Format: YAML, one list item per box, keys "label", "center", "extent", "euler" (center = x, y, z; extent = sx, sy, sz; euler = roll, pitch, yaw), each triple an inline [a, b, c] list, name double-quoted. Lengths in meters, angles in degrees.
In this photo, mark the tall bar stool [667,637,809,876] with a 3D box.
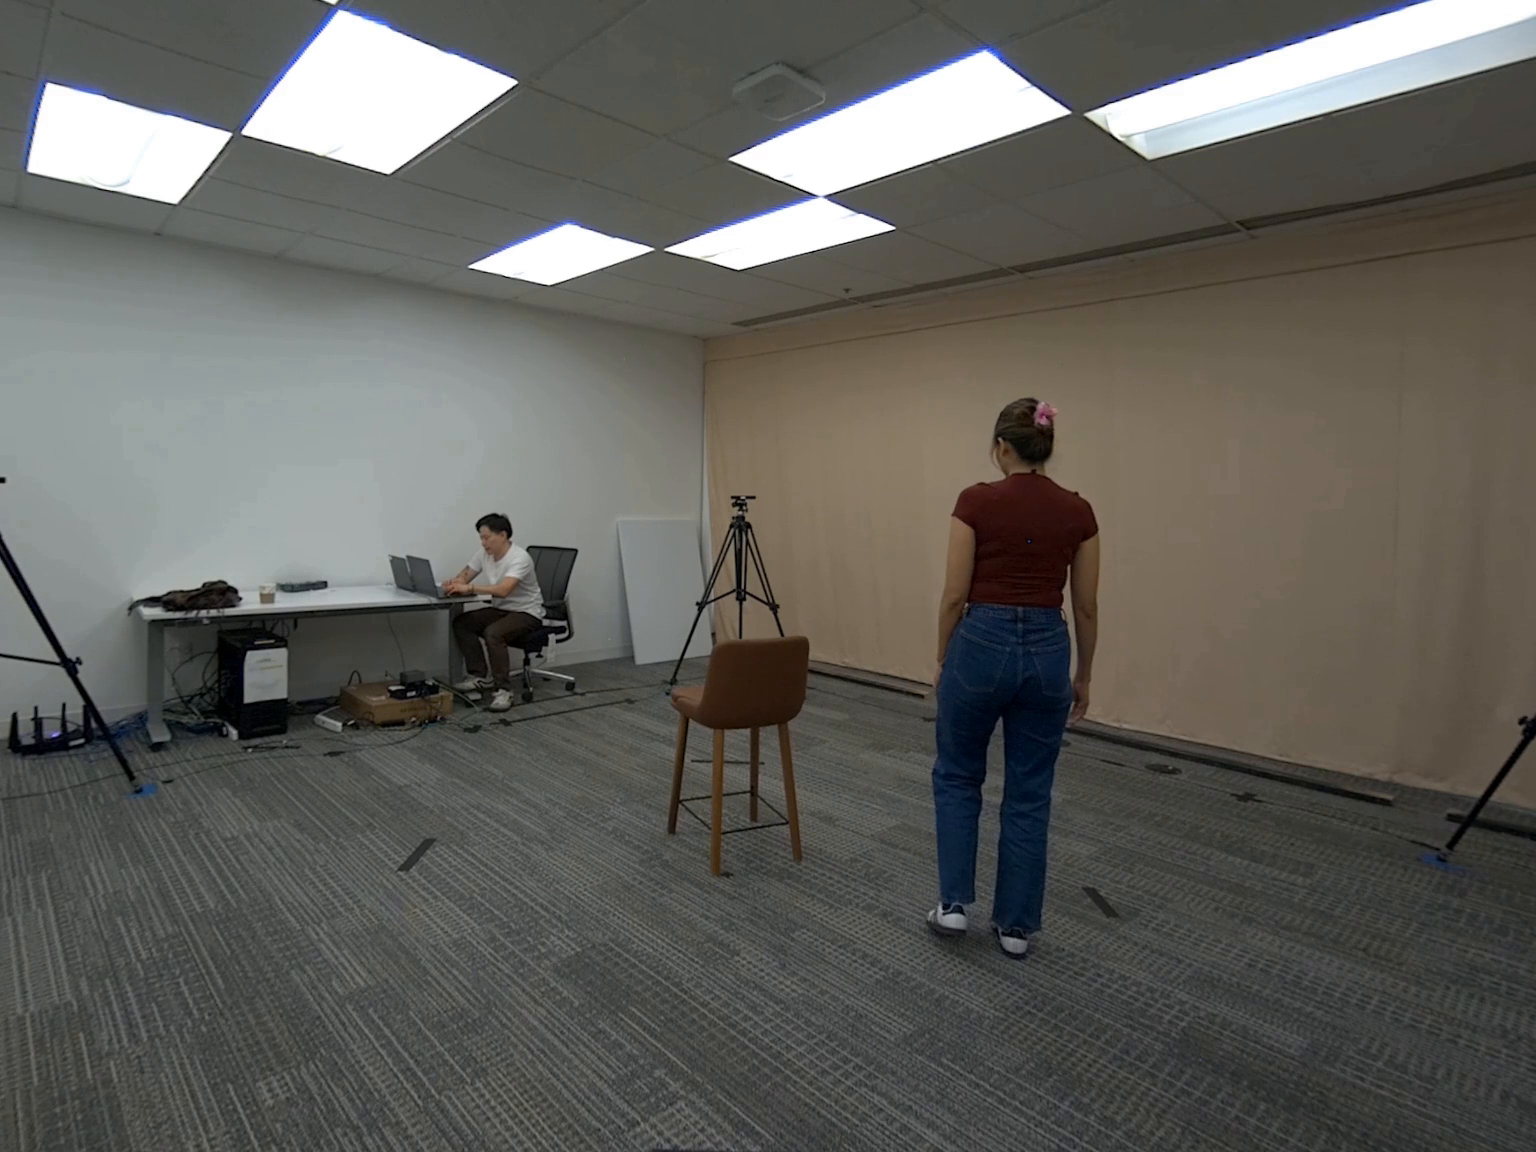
- label: "tall bar stool"
  center: [-0.128, 0.646, 3.333]
  extent: [0.448, 0.887, 0.478]
  euler: [-1, 5, -26]
